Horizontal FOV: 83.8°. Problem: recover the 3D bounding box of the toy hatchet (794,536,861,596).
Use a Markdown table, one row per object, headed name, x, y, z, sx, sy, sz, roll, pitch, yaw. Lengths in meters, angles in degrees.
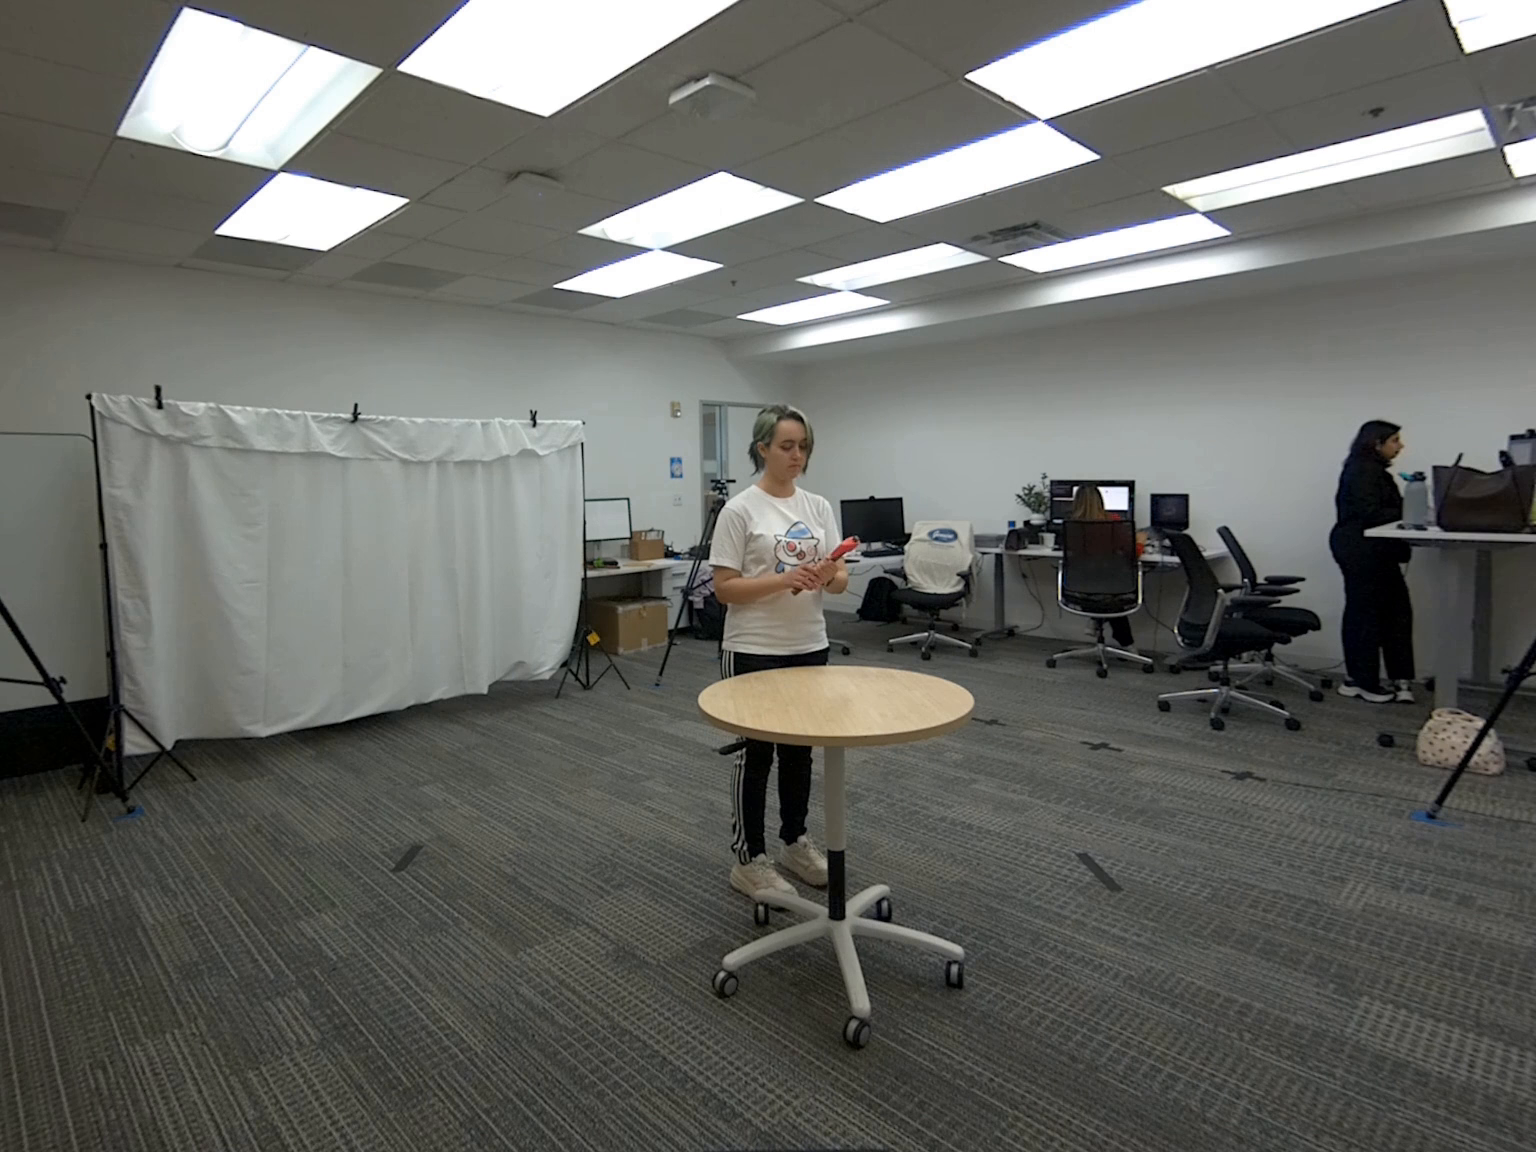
| name | x | y | z | sx | sy | sz | roll | pitch | yaw |
| --- | --- | --- | --- | --- | --- | --- | --- | --- | --- |
| toy hatchet | 0.169 | -0.032 | 2.605 | 0.270 | 0.030 | 0.128 | -41 | -11 | 9 |
